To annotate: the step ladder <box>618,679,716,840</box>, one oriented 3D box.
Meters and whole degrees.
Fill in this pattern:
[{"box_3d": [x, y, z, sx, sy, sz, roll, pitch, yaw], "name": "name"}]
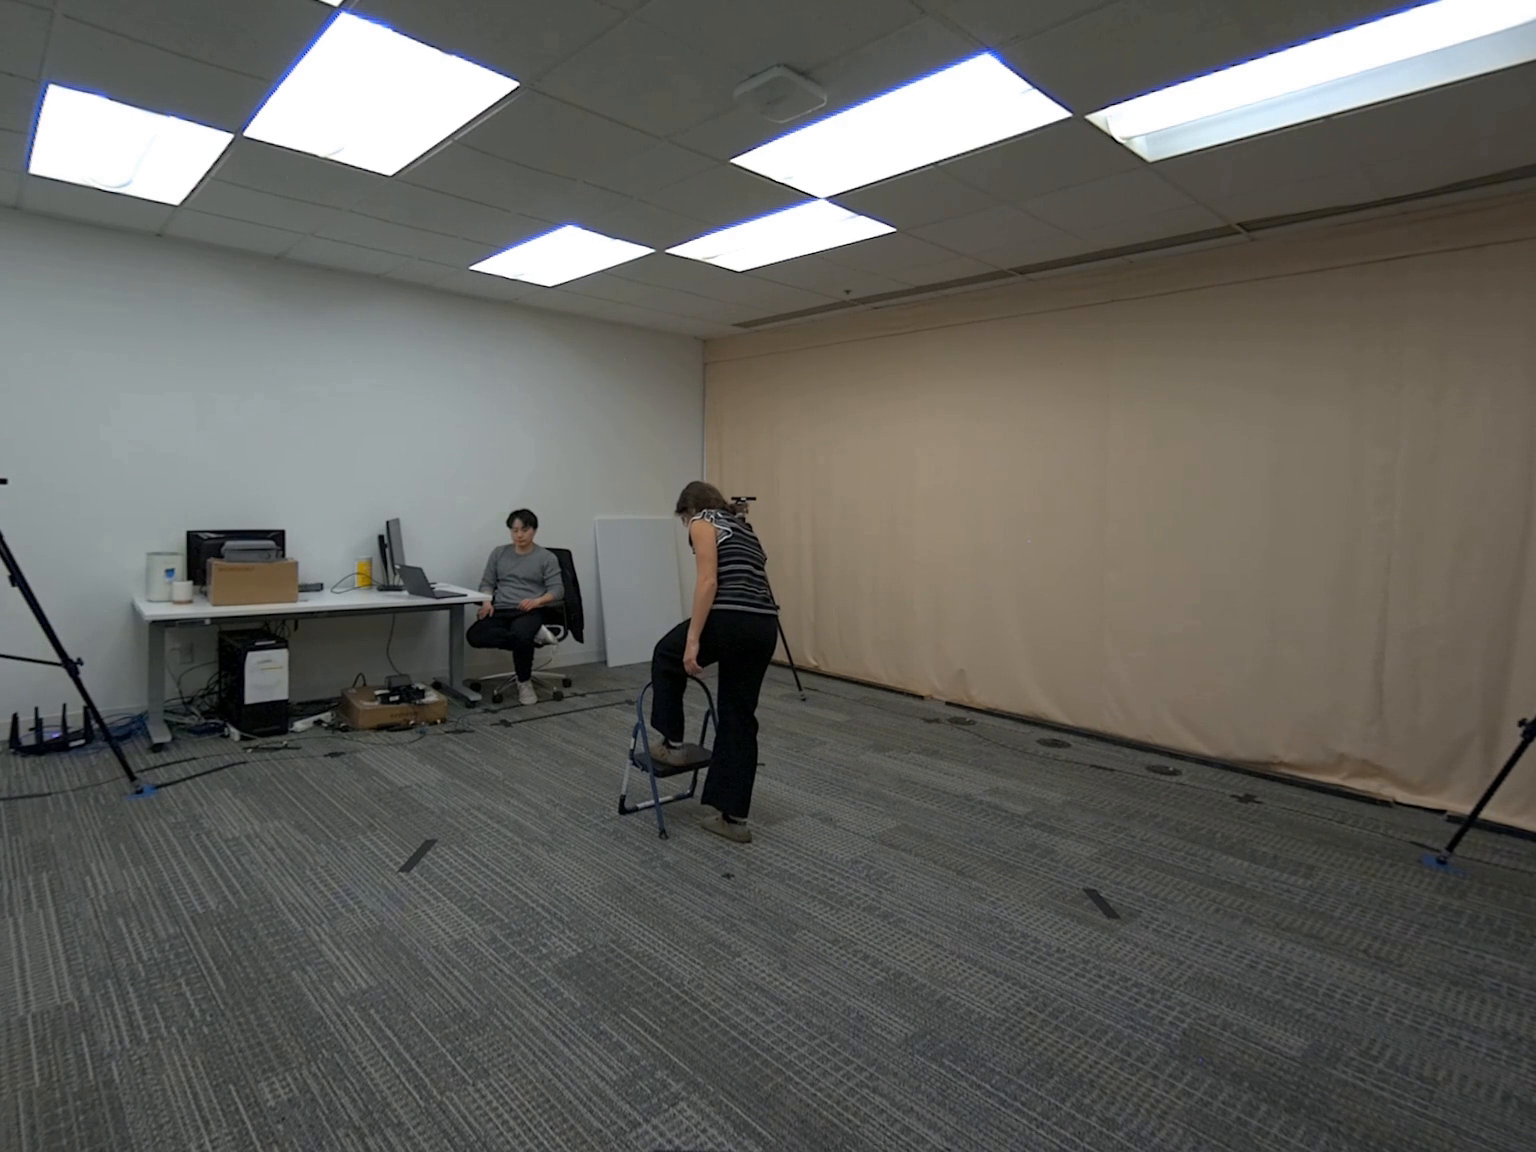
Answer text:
[{"box_3d": [-0.393, 0.748, 3.684, 0.420, 0.605, 0.358, -1, 4, -43], "name": "step ladder"}]
